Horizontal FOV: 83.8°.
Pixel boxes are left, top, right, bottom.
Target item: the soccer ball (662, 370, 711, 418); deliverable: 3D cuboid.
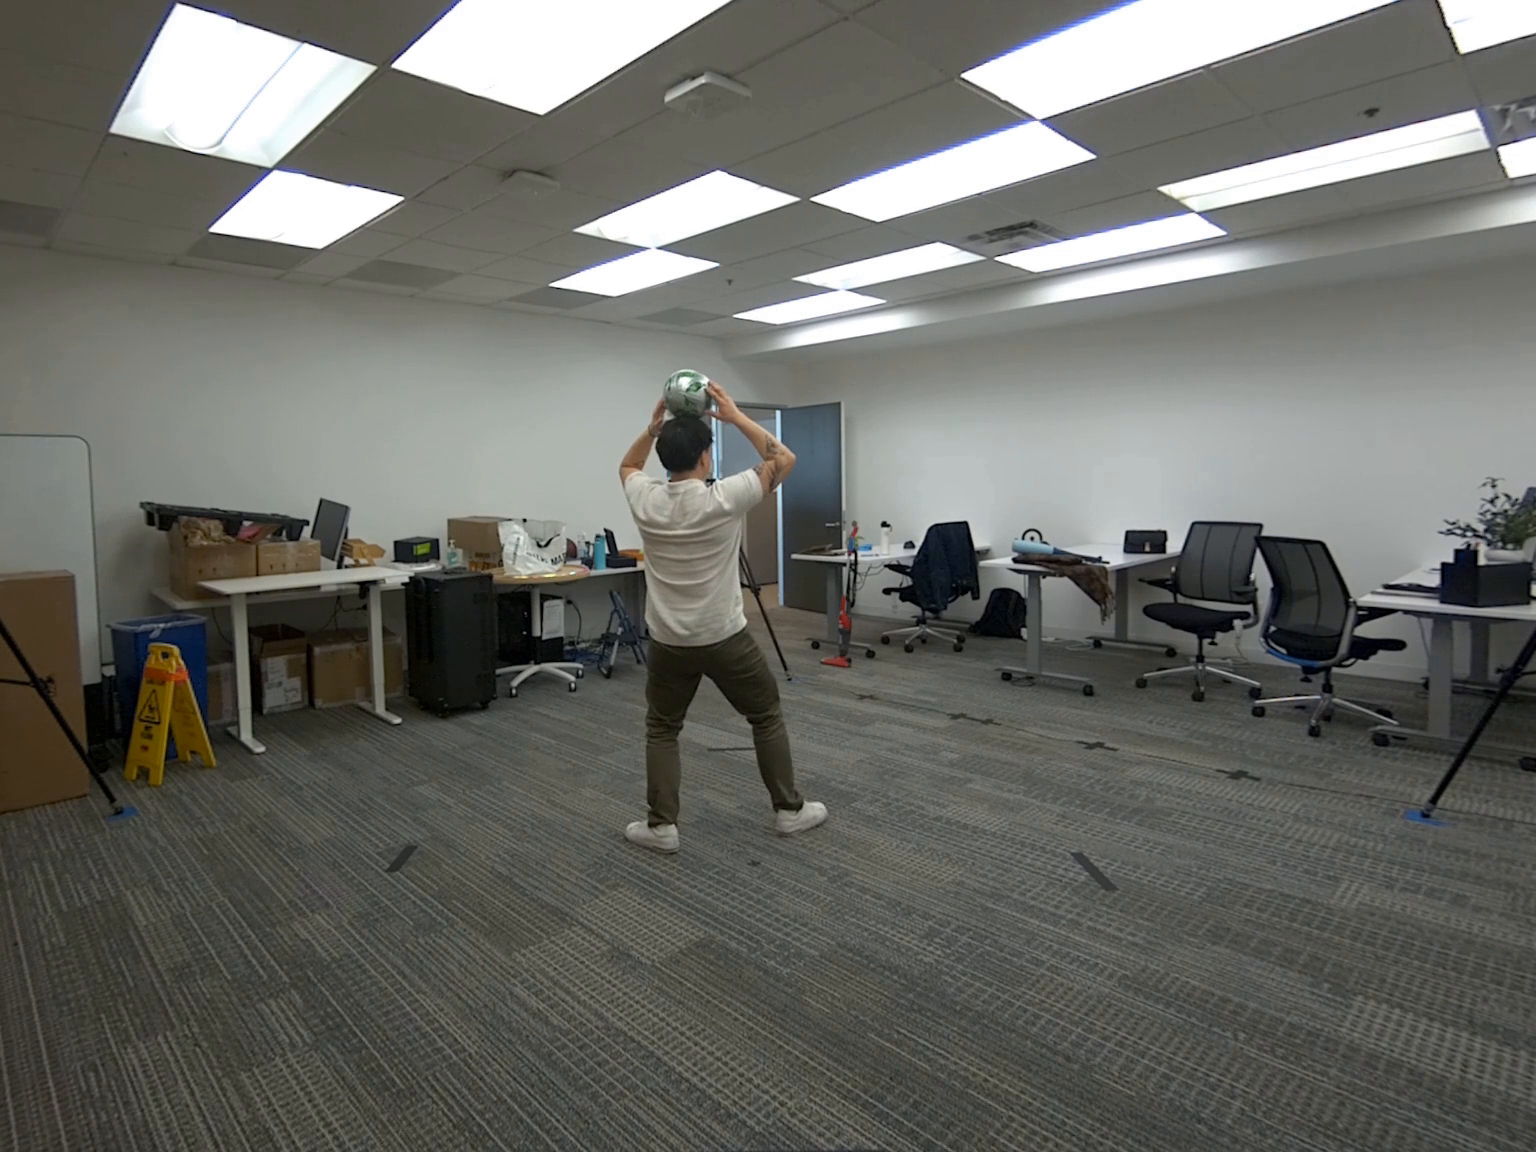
[{"bbox_3d":[-0.298,-0.669,3.146,0.187,0.187,0.188,-1,5,-2],"label":"soccer ball"}]
